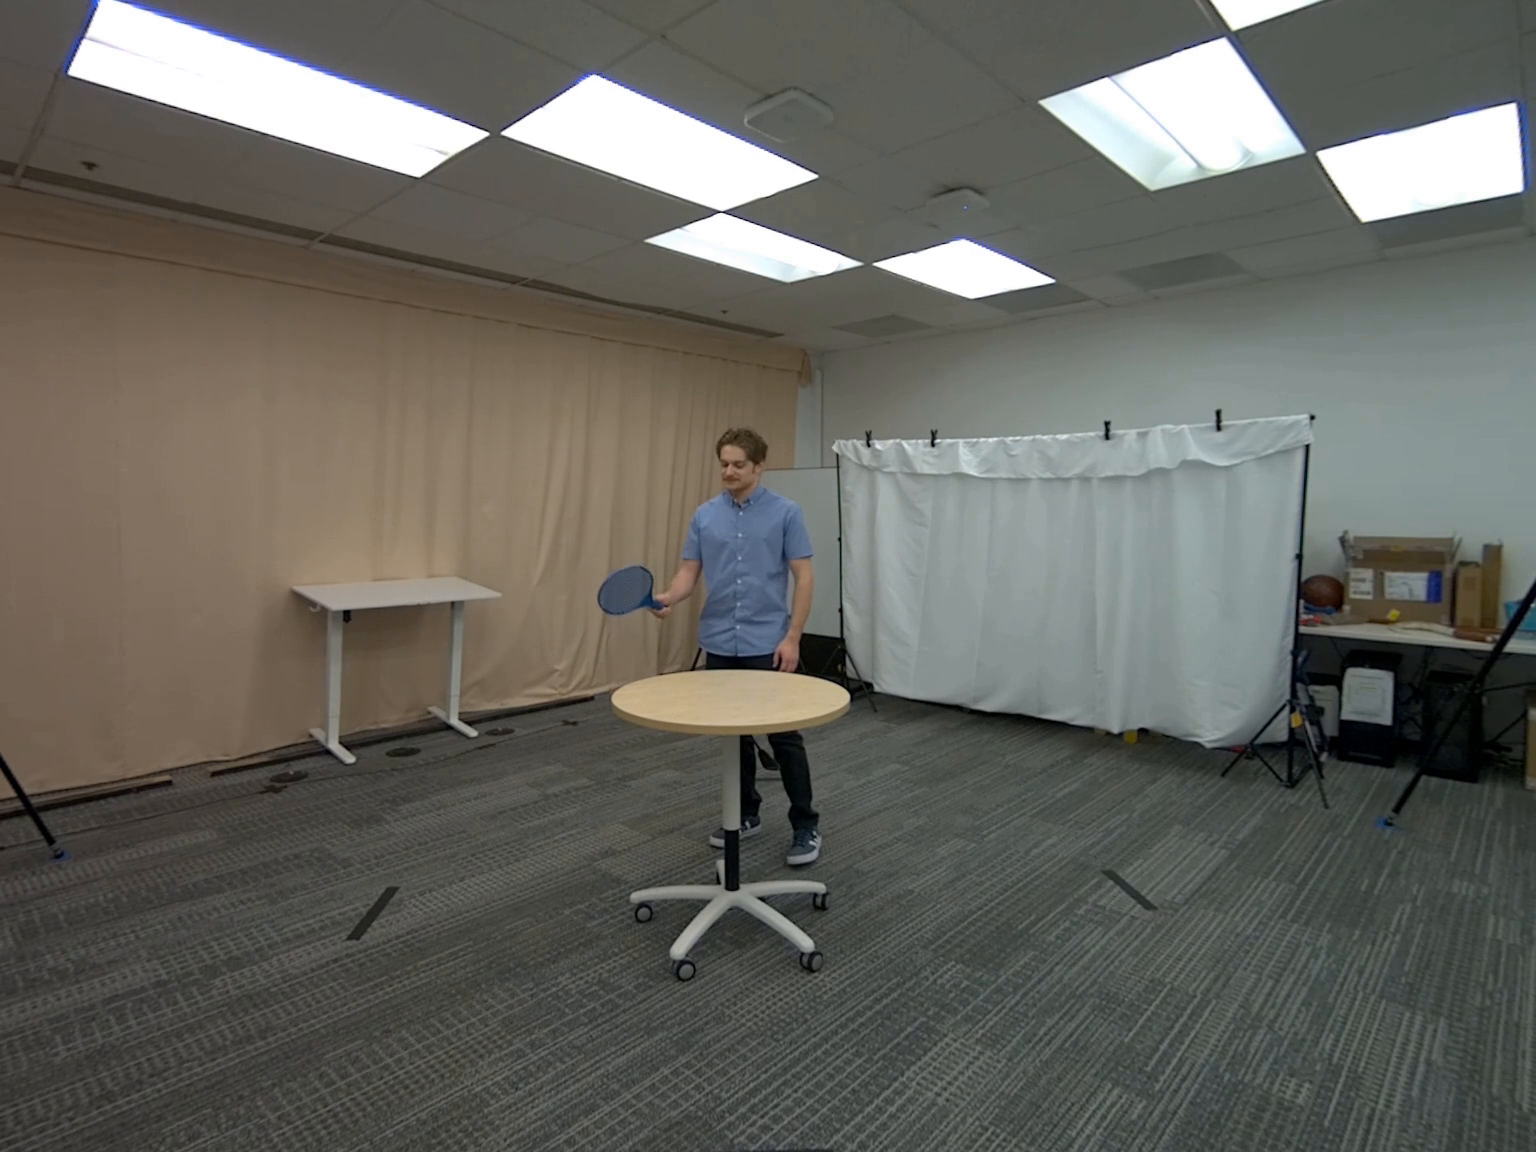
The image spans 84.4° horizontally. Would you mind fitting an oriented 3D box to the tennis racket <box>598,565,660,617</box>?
[{"bbox_3d":[-0.475,0.088,3.065,0.033,0.213,0.420,39,-3,27],"label":"tennis racket"}]
